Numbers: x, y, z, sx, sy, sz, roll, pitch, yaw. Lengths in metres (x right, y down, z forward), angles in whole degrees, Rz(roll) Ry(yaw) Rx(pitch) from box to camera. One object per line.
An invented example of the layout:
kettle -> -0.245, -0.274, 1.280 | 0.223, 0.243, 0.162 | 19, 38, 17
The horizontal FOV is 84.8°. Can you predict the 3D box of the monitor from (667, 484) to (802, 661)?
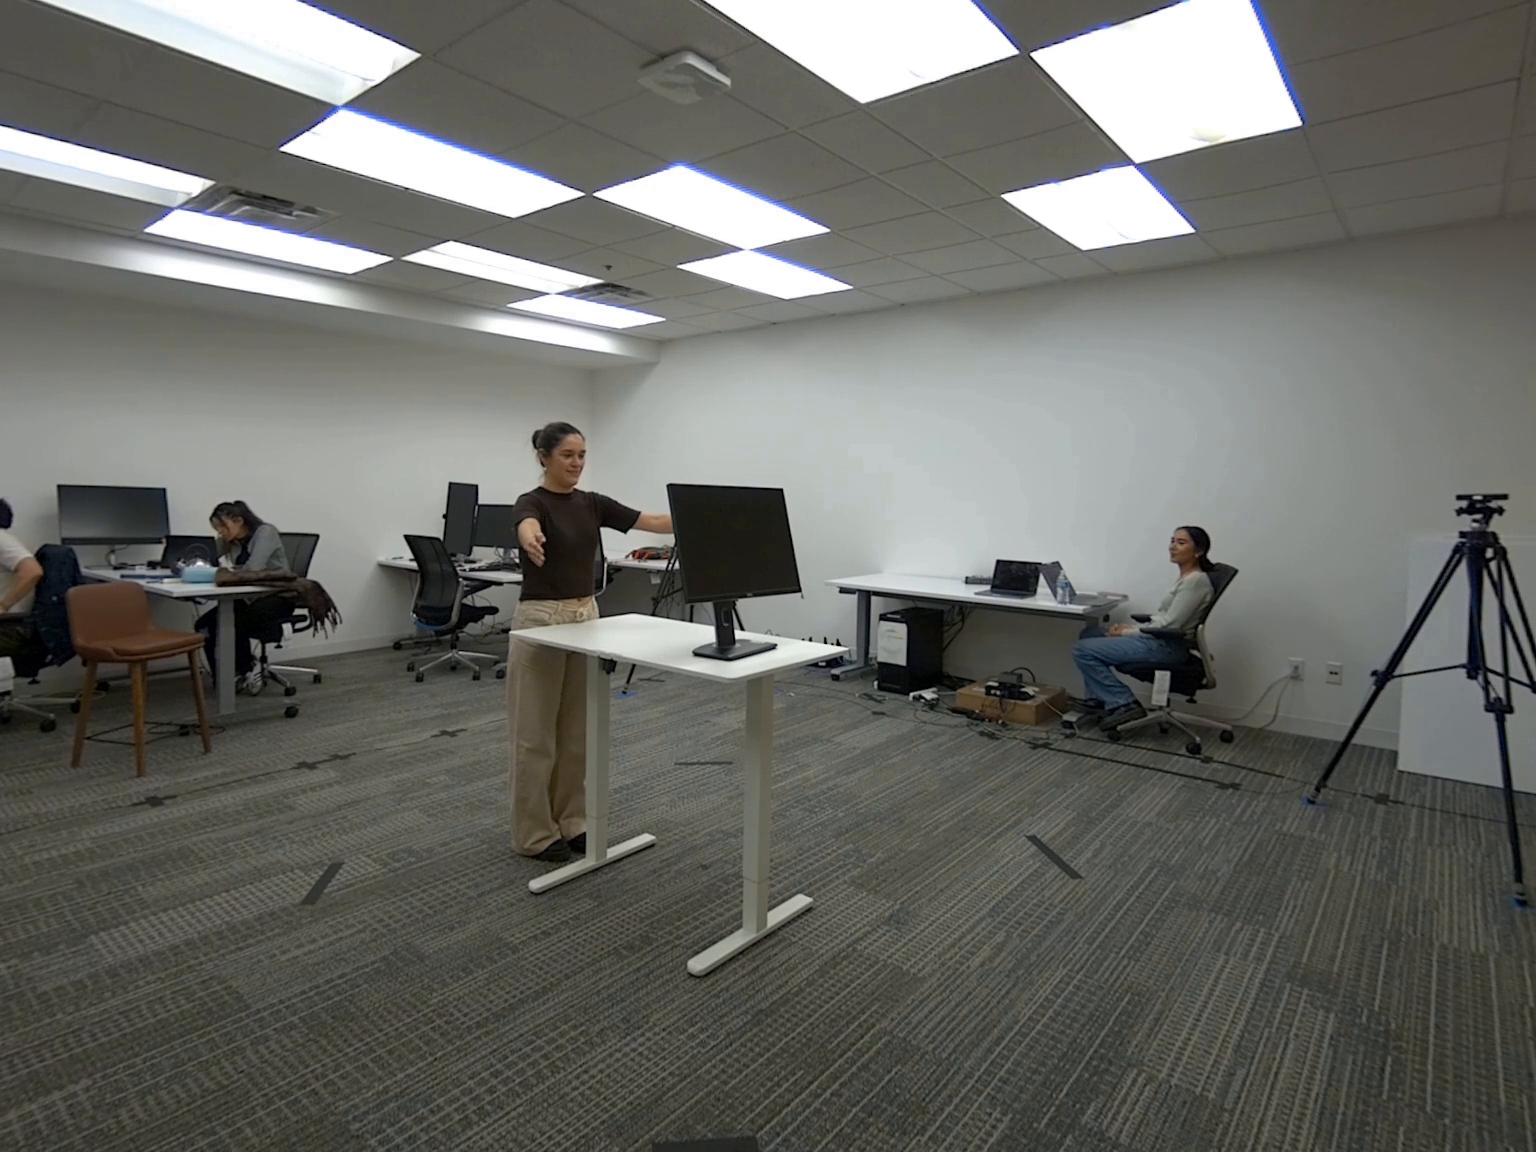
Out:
monitor -> -0.121, -0.018, 2.638 | 0.193, 0.522, 0.523 | 0, 2, 38
